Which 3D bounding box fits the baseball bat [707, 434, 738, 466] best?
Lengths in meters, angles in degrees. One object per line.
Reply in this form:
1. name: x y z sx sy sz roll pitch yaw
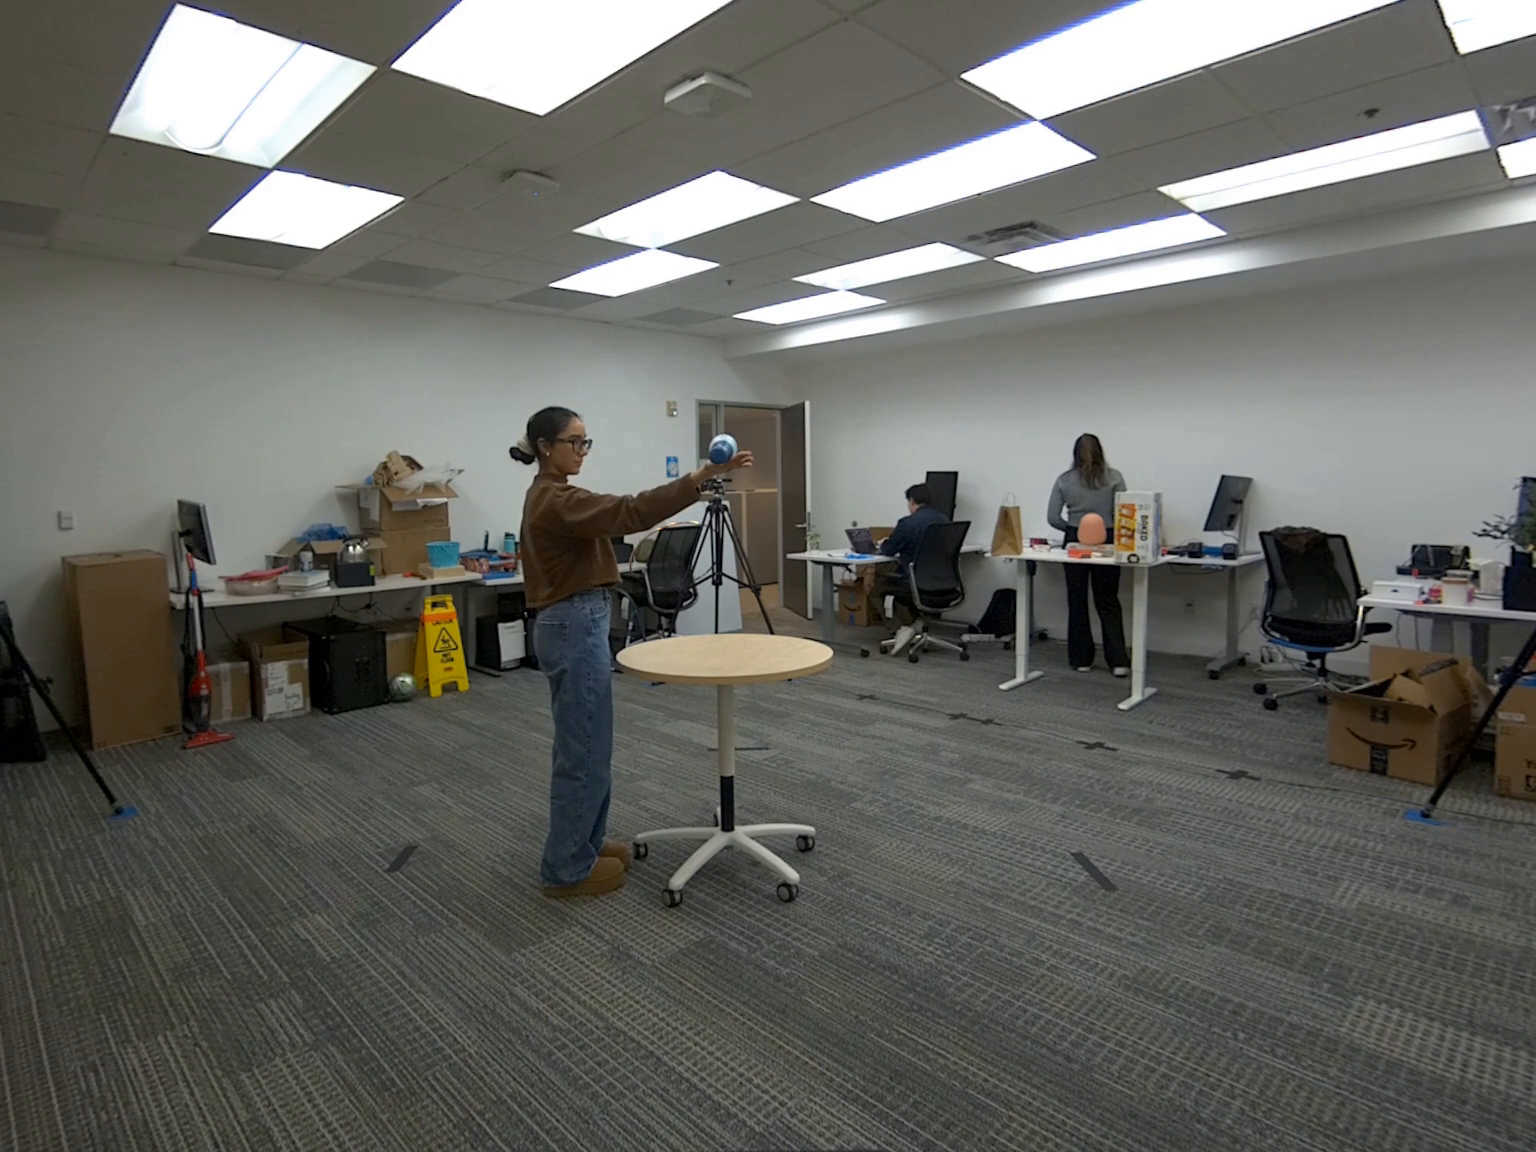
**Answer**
1. baseball bat: -0.128 -0.374 2.570 0.089 0.088 0.548 -1 10 -2
